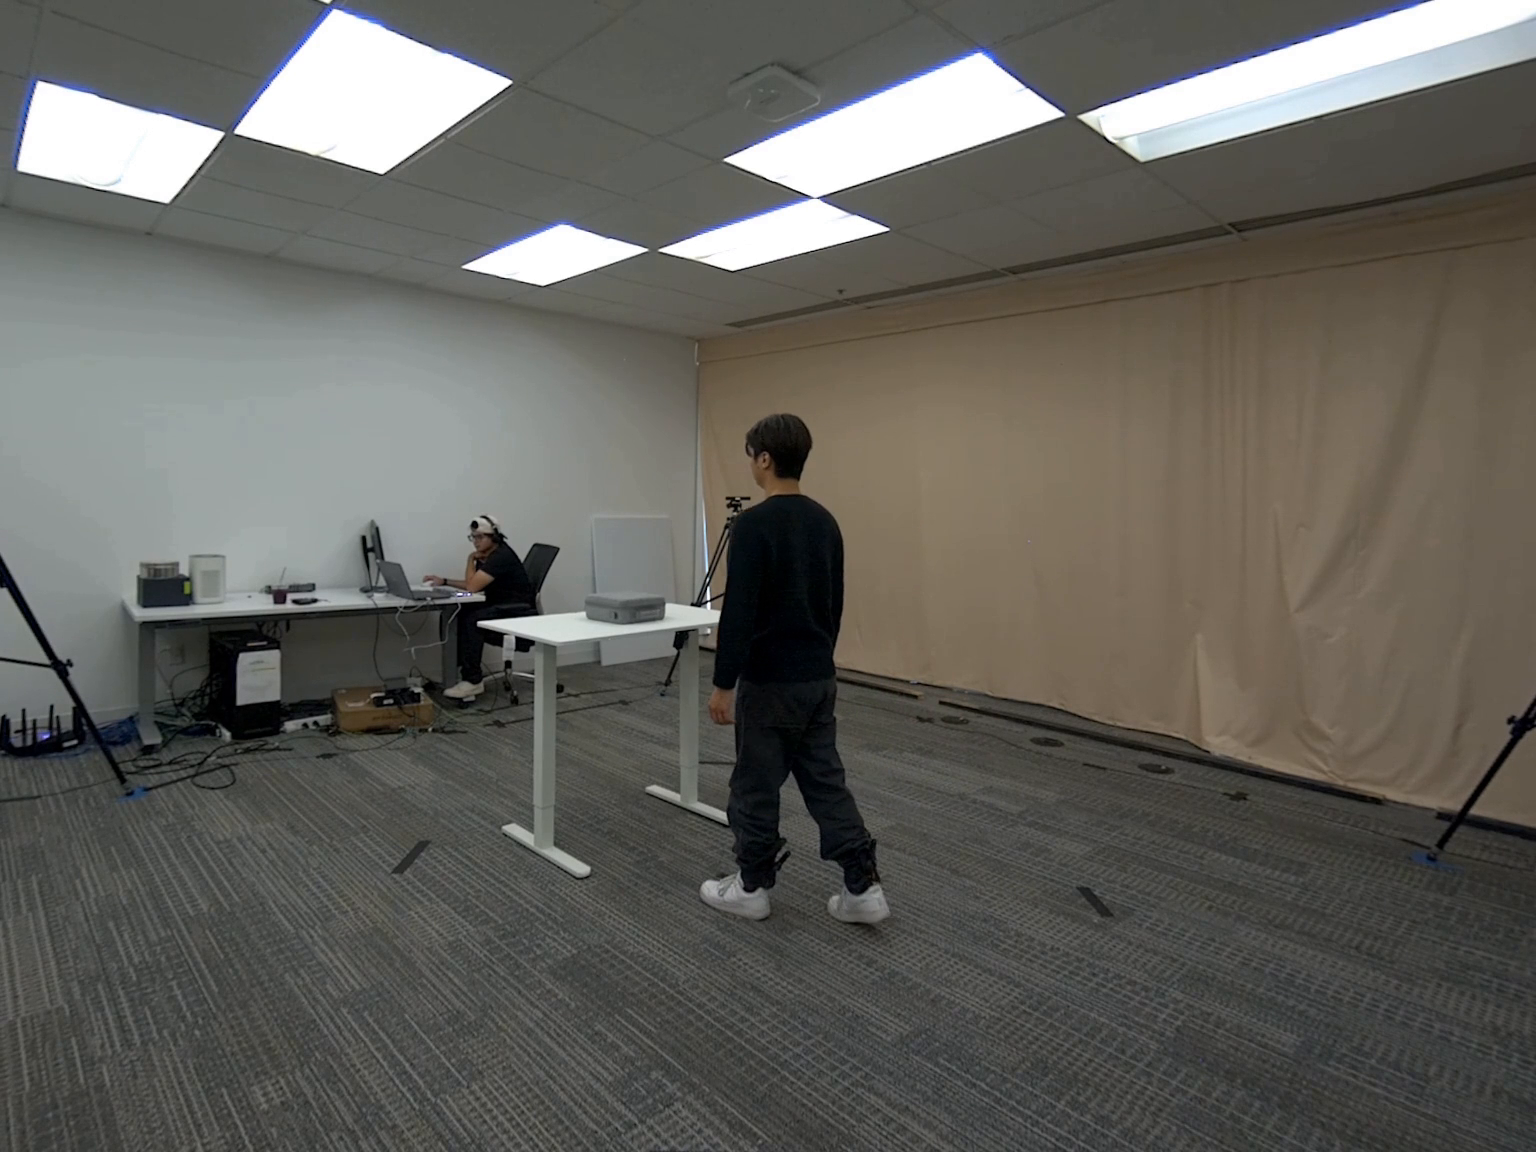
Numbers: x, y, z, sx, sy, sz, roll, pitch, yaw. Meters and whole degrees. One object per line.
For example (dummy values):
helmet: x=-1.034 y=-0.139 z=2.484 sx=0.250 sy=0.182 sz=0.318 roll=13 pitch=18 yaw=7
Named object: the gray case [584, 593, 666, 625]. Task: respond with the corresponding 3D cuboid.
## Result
gray case: x=-0.595 y=0.128 z=3.489 sx=0.267 sy=0.104 sz=0.251 roll=5 pitch=6 yaw=41
